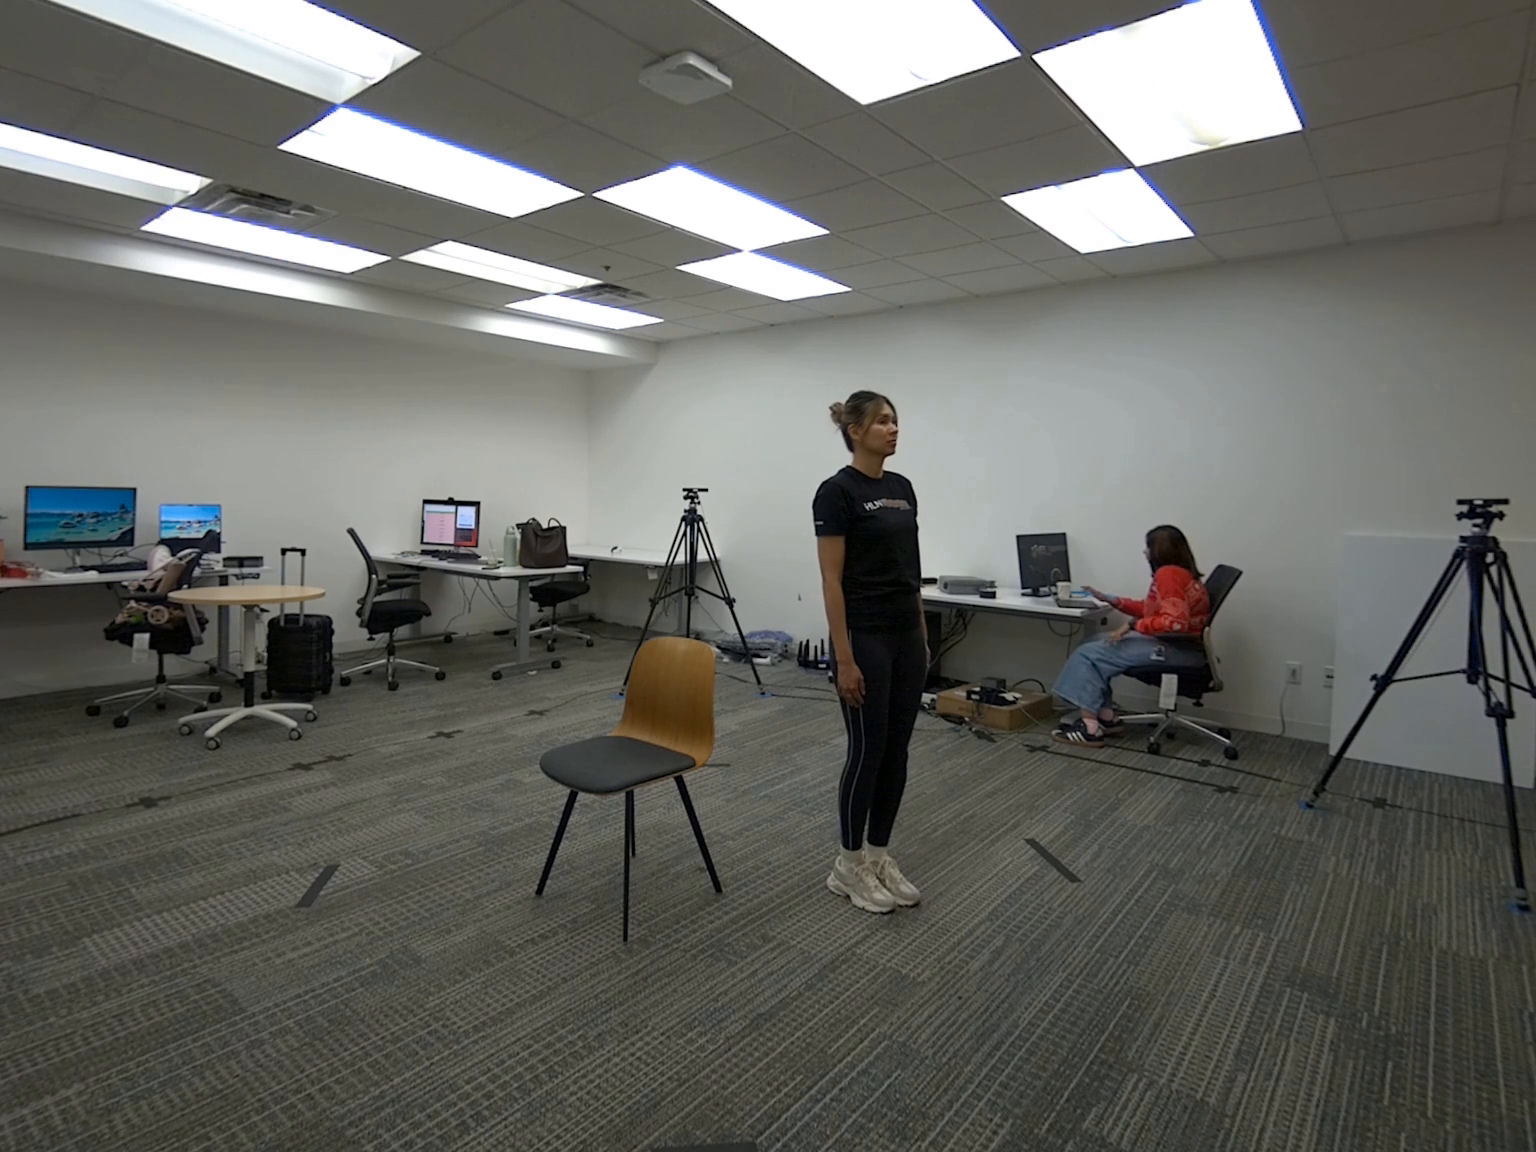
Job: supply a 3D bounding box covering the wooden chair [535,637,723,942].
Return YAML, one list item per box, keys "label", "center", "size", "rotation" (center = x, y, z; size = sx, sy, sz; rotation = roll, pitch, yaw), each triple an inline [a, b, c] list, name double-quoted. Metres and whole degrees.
- label: "wooden chair"
  center: [-0.481, 0.662, 2.876]
  size: [0.494, 0.878, 0.506]
  rotation: [3, 0, 38]
